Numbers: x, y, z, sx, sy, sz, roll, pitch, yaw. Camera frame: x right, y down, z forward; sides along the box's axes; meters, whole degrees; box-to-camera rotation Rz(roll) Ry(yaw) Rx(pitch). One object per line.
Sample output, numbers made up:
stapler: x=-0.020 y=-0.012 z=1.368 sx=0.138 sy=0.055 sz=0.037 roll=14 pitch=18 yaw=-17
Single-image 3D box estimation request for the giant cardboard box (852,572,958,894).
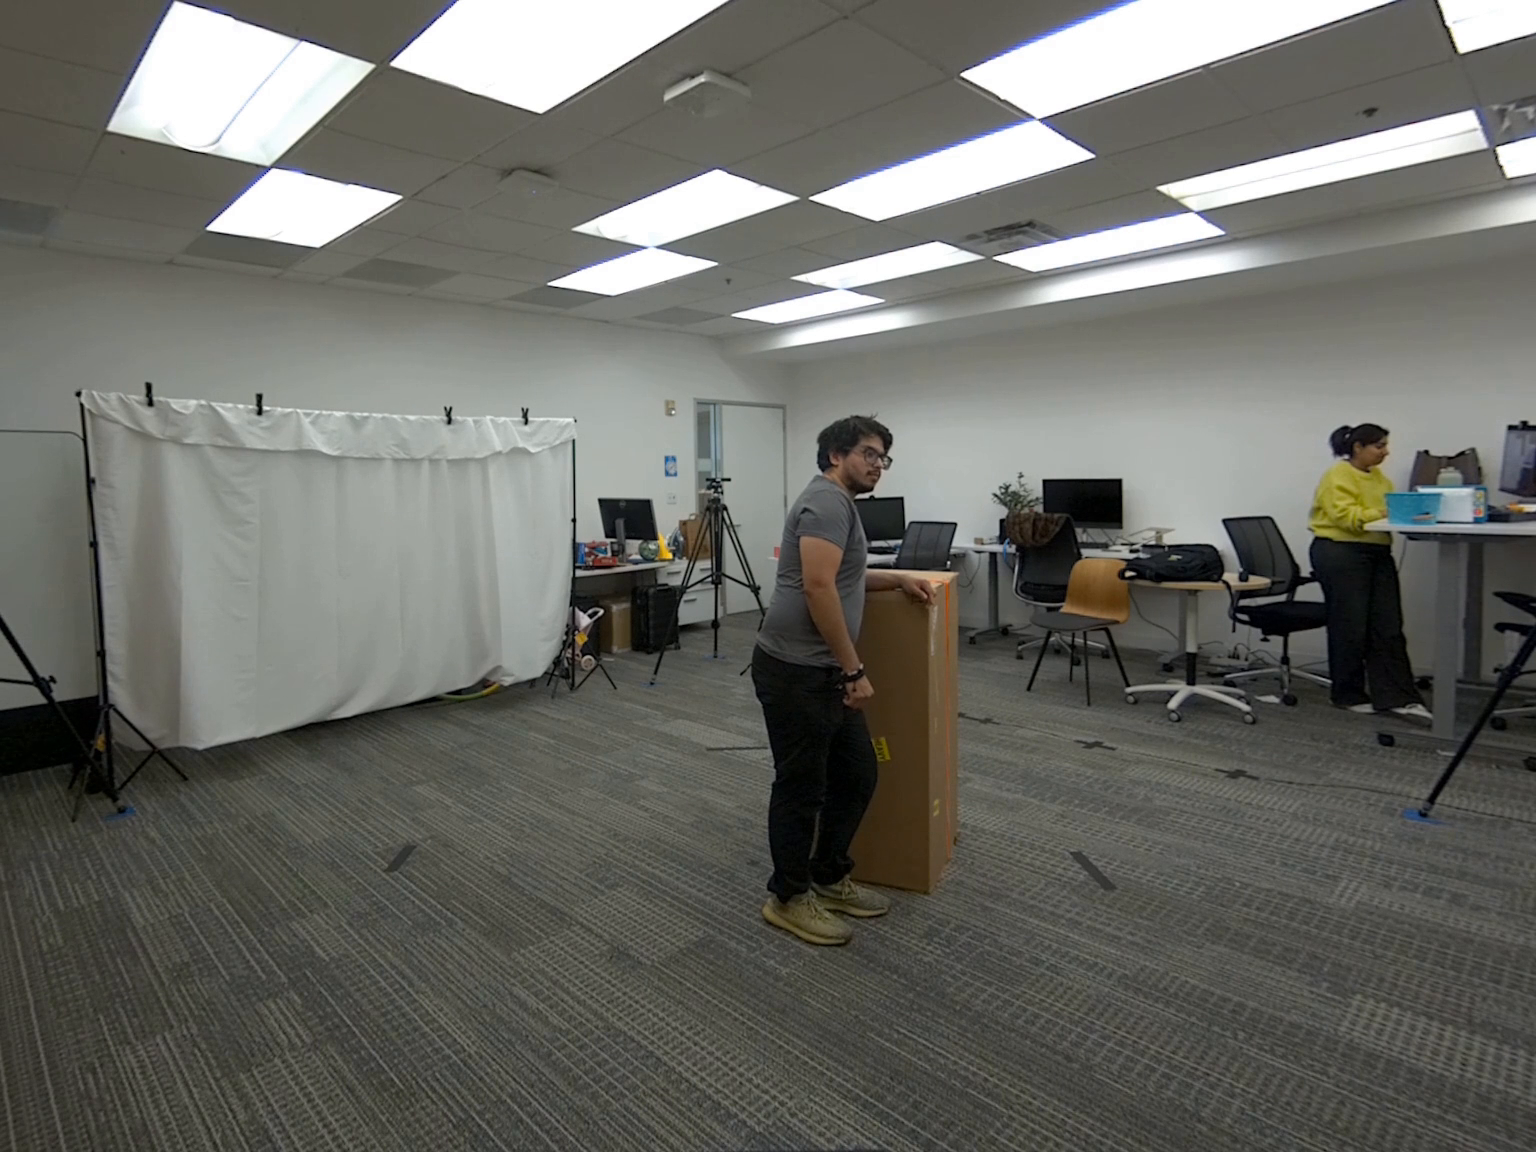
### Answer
giant cardboard box: x=0.453 y=0.519 z=3.165 sx=0.436 sy=1.022 sz=0.567 roll=1 pitch=4 yaw=24
